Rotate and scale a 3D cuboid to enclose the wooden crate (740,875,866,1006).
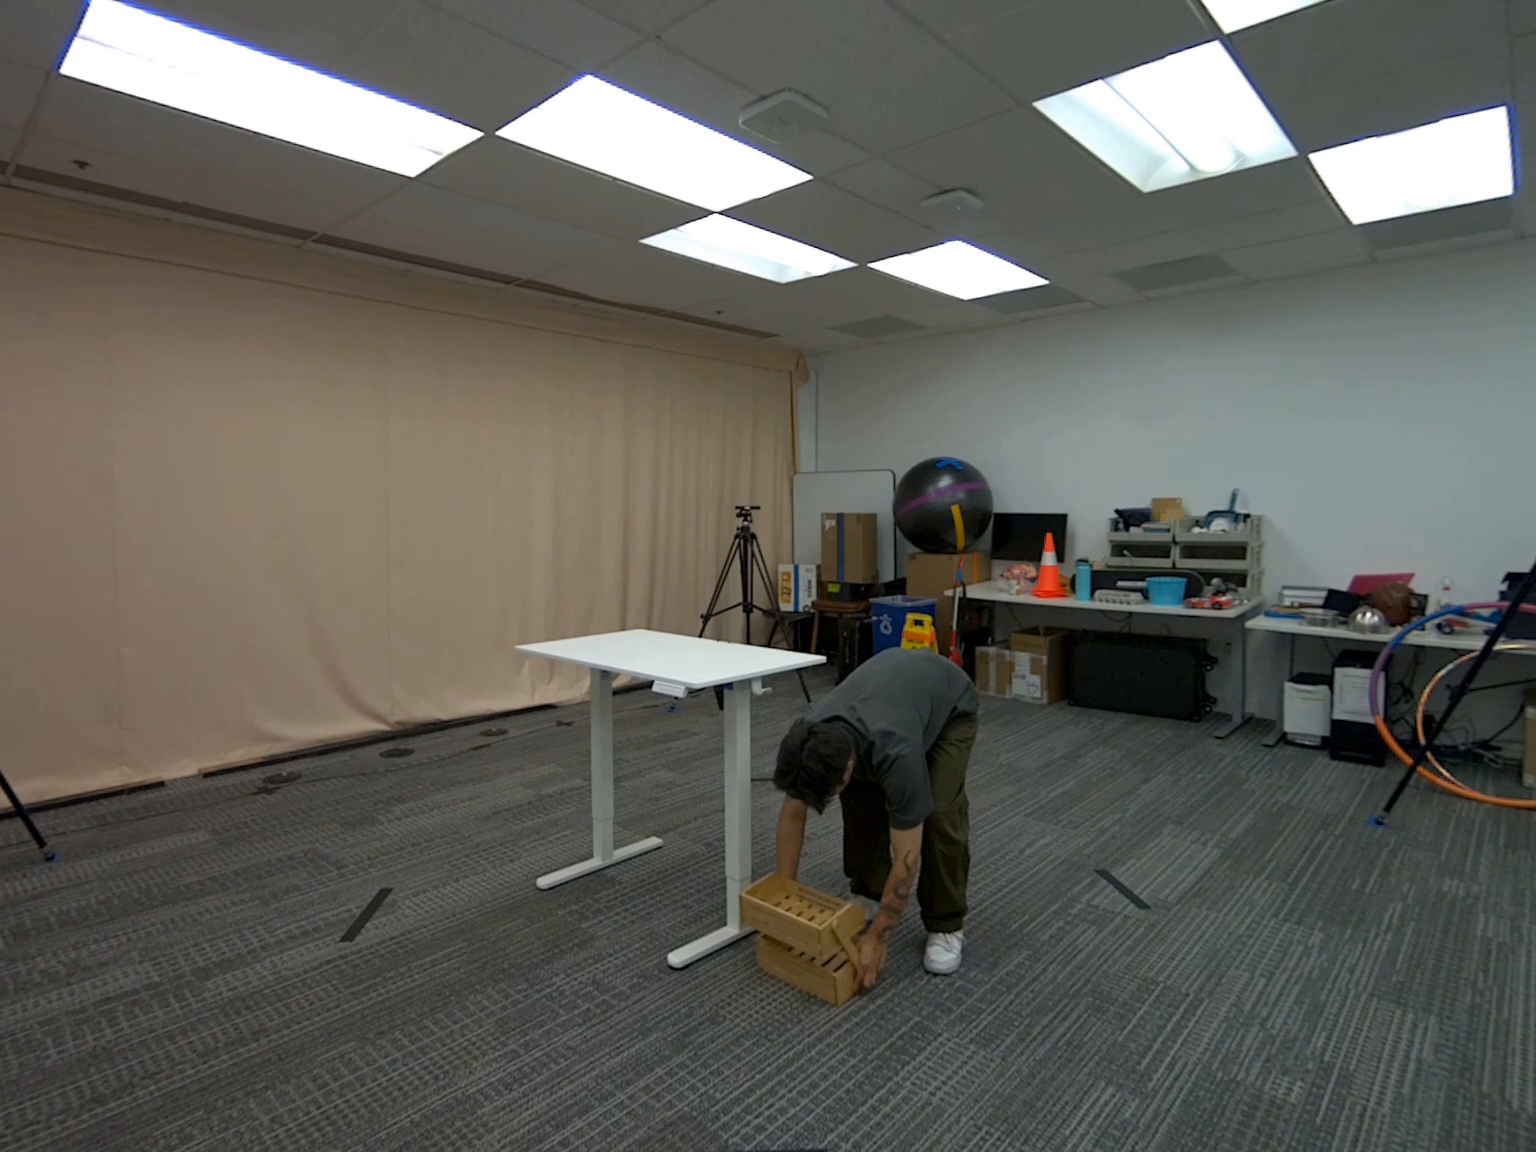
[{"bbox_3d":[0.140,1.044,2.496,0.335,0.272,0.294,3,11,42],"label":"wooden crate"}]
